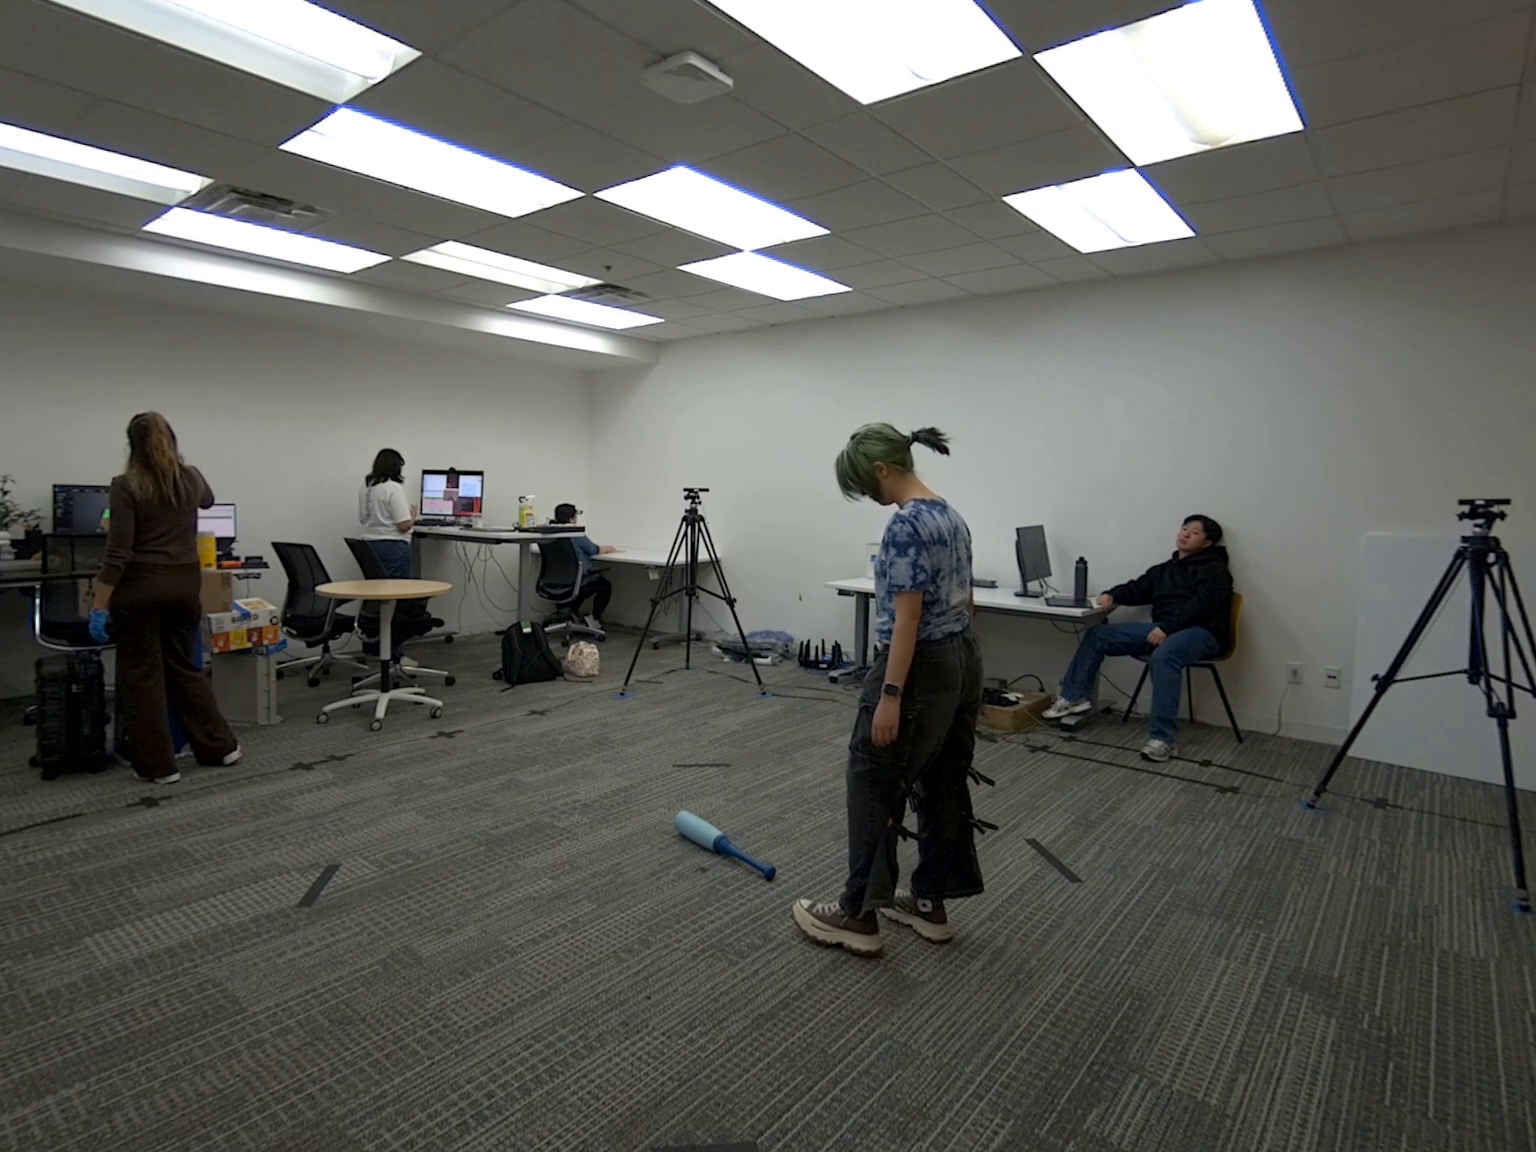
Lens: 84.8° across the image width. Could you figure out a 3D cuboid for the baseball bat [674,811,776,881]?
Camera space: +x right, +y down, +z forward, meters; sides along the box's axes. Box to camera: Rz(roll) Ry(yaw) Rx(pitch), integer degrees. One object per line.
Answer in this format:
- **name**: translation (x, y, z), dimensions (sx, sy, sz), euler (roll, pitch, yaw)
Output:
- **baseball bat**: translation (-0.181, 1.024, 3.232), dimensions (0.086, 0.088, 0.563), euler (-3, 10, -41)
